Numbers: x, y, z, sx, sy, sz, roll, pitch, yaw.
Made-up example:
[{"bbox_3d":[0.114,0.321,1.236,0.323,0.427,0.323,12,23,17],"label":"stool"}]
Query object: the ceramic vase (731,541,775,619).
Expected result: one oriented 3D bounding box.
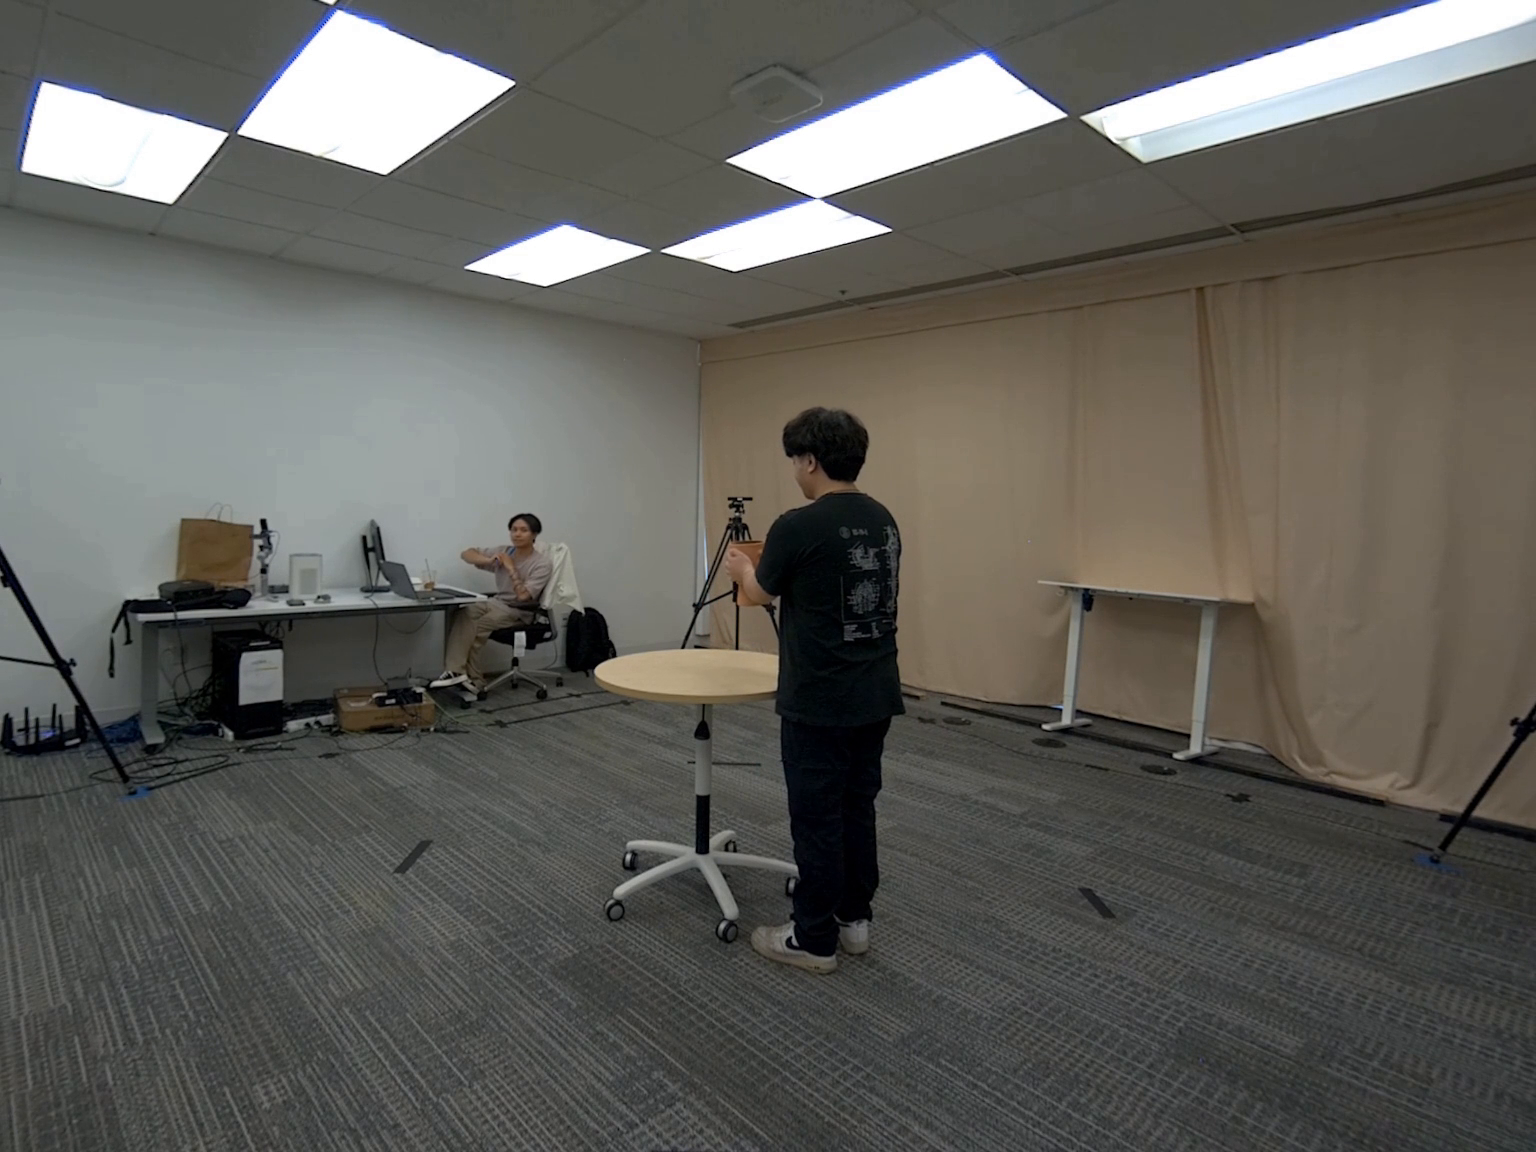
[{"bbox_3d":[-0.070,-0.007,2.962,0.135,0.218,0.159,-3,8,0],"label":"ceramic vase"}]
